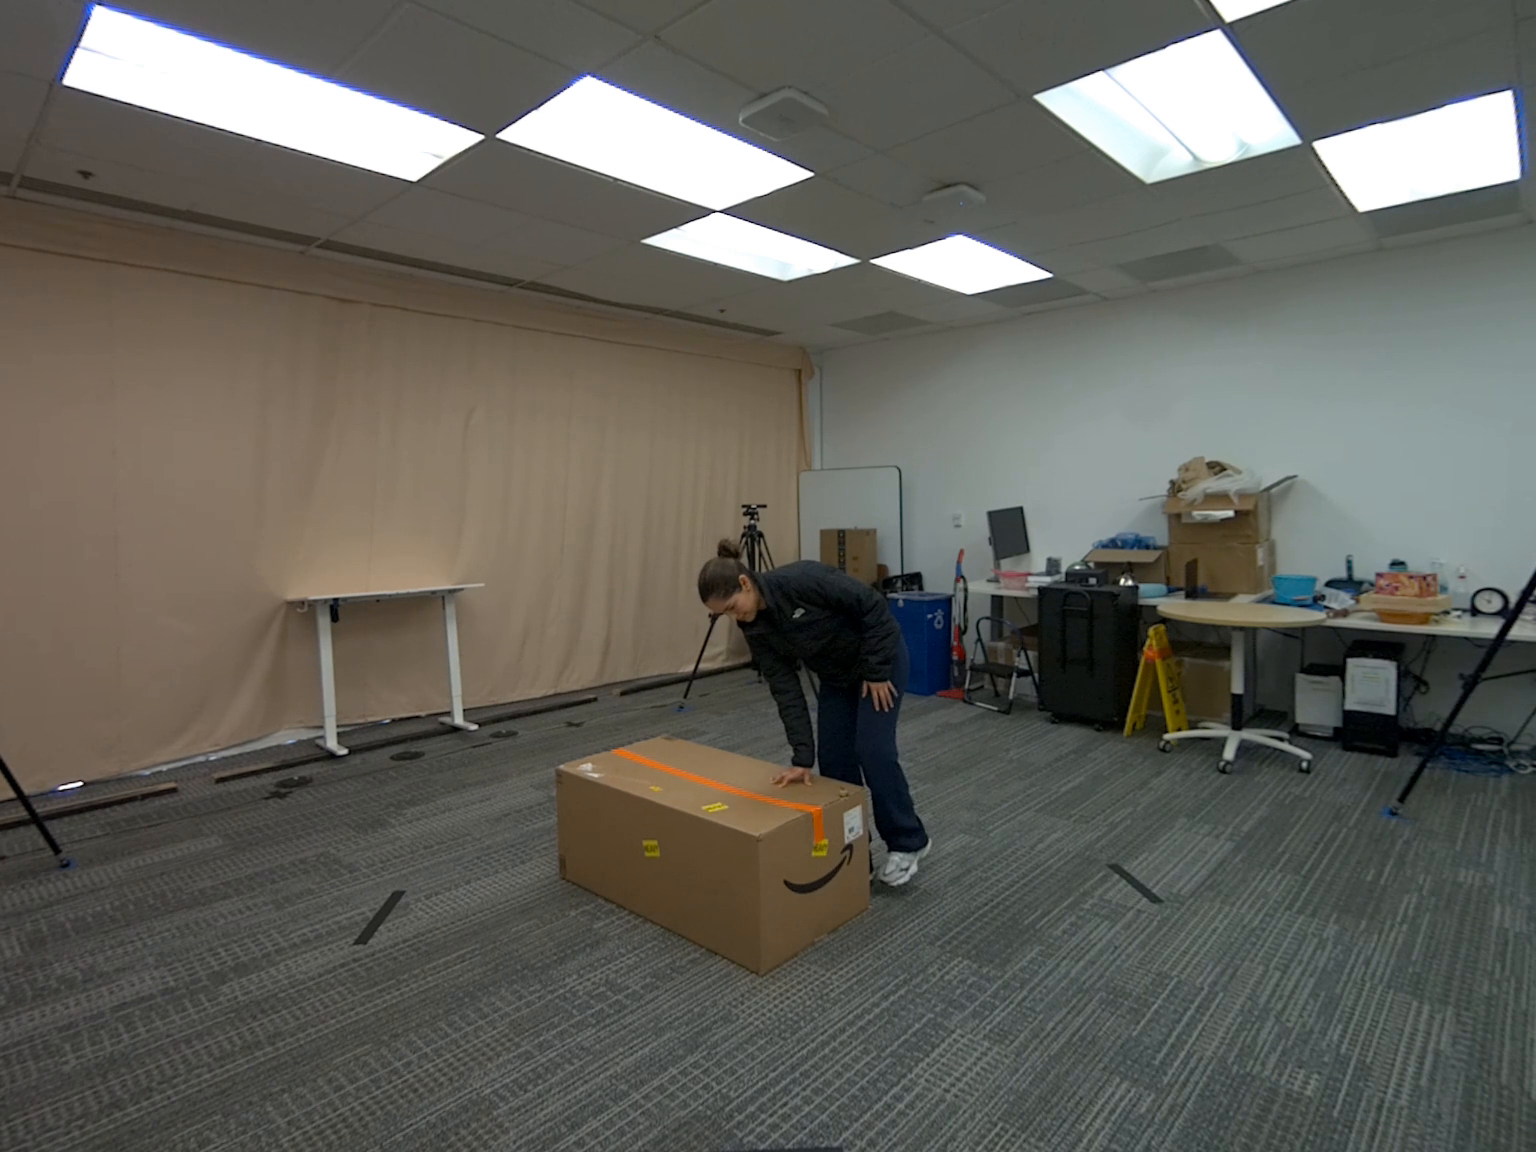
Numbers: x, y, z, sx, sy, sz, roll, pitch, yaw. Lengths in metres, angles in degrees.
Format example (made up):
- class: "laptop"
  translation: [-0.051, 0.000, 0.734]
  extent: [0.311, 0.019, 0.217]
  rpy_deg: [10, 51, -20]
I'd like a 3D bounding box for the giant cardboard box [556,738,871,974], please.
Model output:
- class: "giant cardboard box"
  translation: [-0.213, 0.933, 3.032]
  extent: [1.061, 0.446, 0.566]
  rpy_deg: [2, 4, 42]
